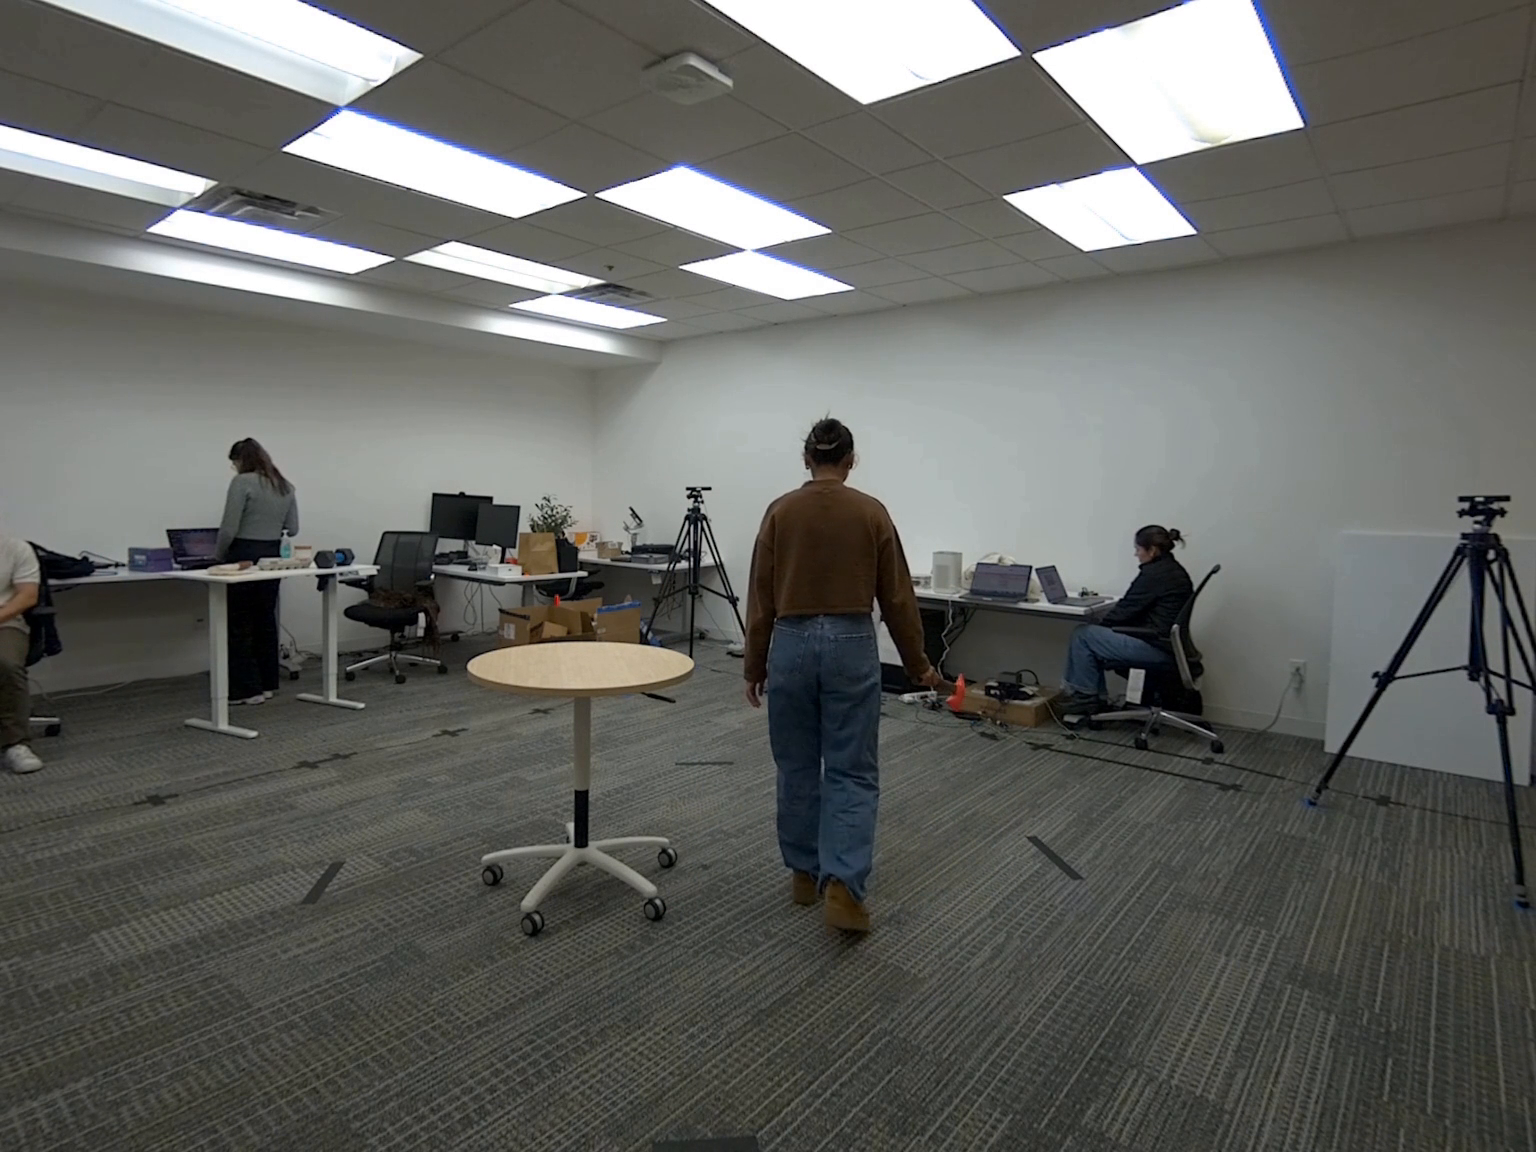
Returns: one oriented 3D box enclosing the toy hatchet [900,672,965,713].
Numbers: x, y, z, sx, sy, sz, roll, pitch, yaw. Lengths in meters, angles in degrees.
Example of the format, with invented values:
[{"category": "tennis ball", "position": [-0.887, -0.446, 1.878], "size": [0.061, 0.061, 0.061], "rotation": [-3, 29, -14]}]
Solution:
[{"category": "toy hatchet", "position": [0.573, 0.404, 2.932], "size": [0.262, 0.132, 0.030], "rotation": [4, -13, -33]}]
